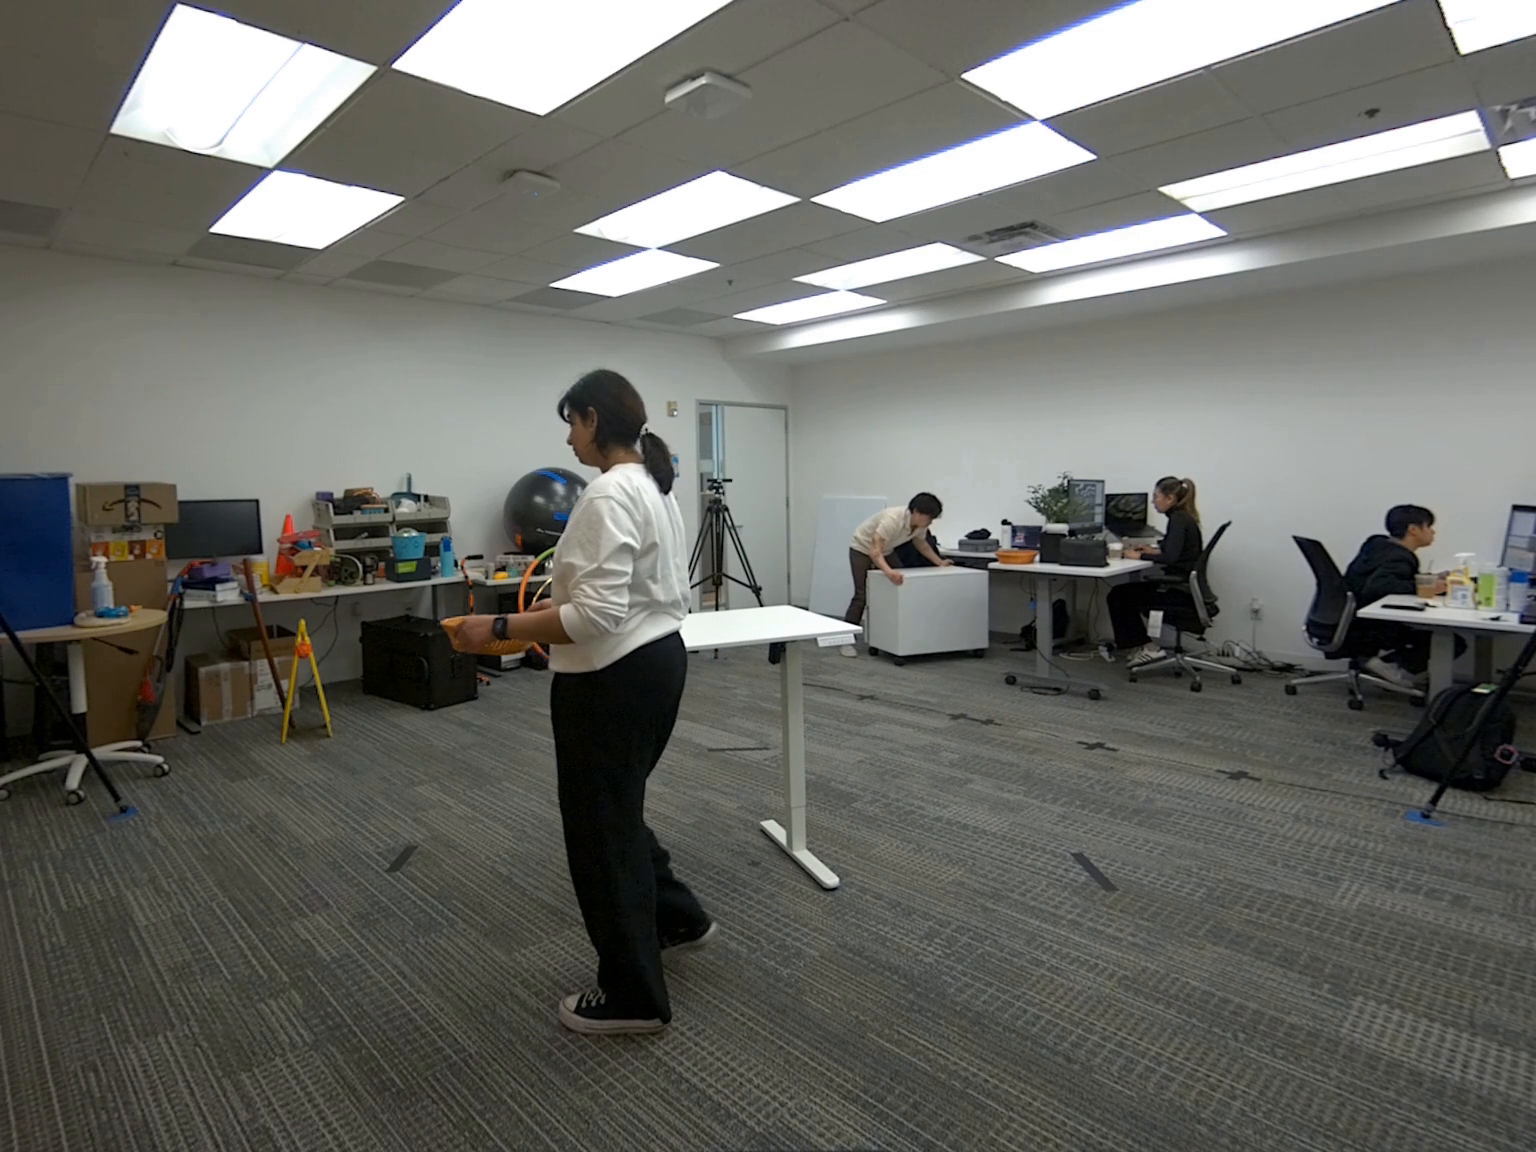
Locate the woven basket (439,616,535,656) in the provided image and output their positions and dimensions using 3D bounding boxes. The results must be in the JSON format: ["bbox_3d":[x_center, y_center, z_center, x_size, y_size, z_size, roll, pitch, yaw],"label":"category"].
[{"bbox_3d":[-0.685,0.158,2.227,0.251,0.073,0.352,2,0,-7],"label":"woven basket"}]
